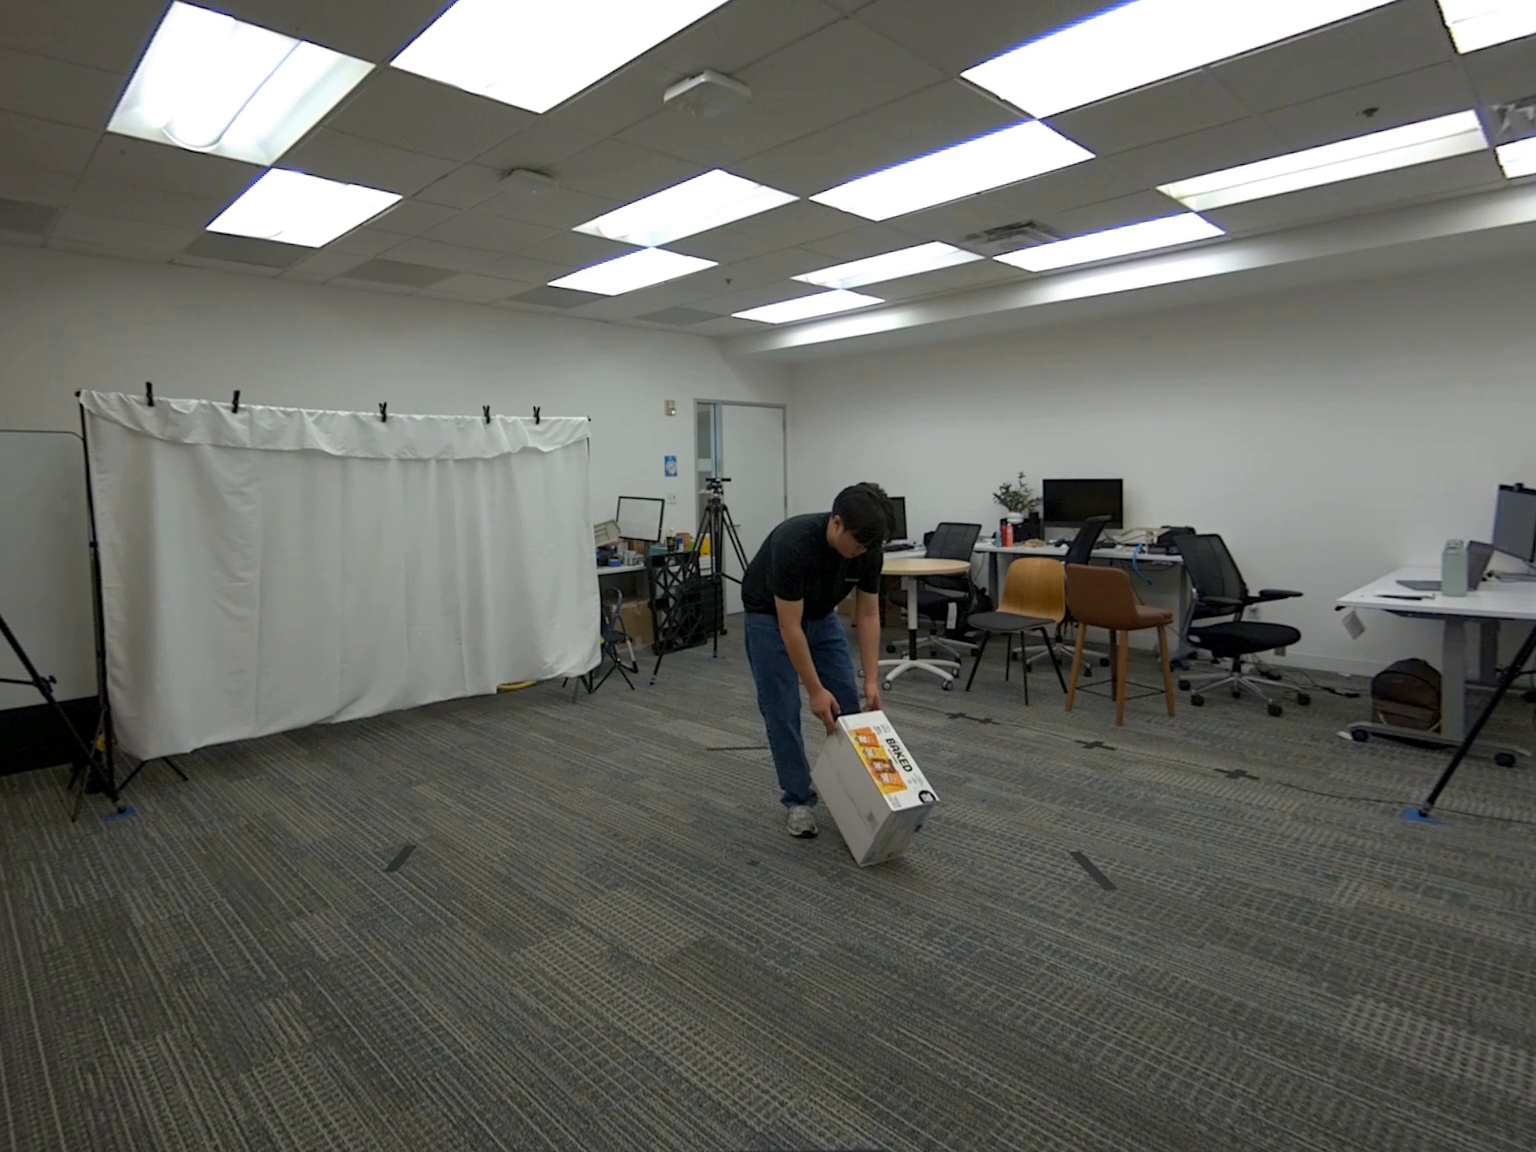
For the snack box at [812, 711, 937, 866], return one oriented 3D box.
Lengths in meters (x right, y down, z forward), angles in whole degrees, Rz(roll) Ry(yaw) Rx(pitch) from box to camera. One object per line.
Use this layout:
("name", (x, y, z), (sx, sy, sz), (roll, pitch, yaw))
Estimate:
("snack box", (0.387, 0.777, 3.137), (0.201, 0.335, 0.421), (-3, 41, -27))
